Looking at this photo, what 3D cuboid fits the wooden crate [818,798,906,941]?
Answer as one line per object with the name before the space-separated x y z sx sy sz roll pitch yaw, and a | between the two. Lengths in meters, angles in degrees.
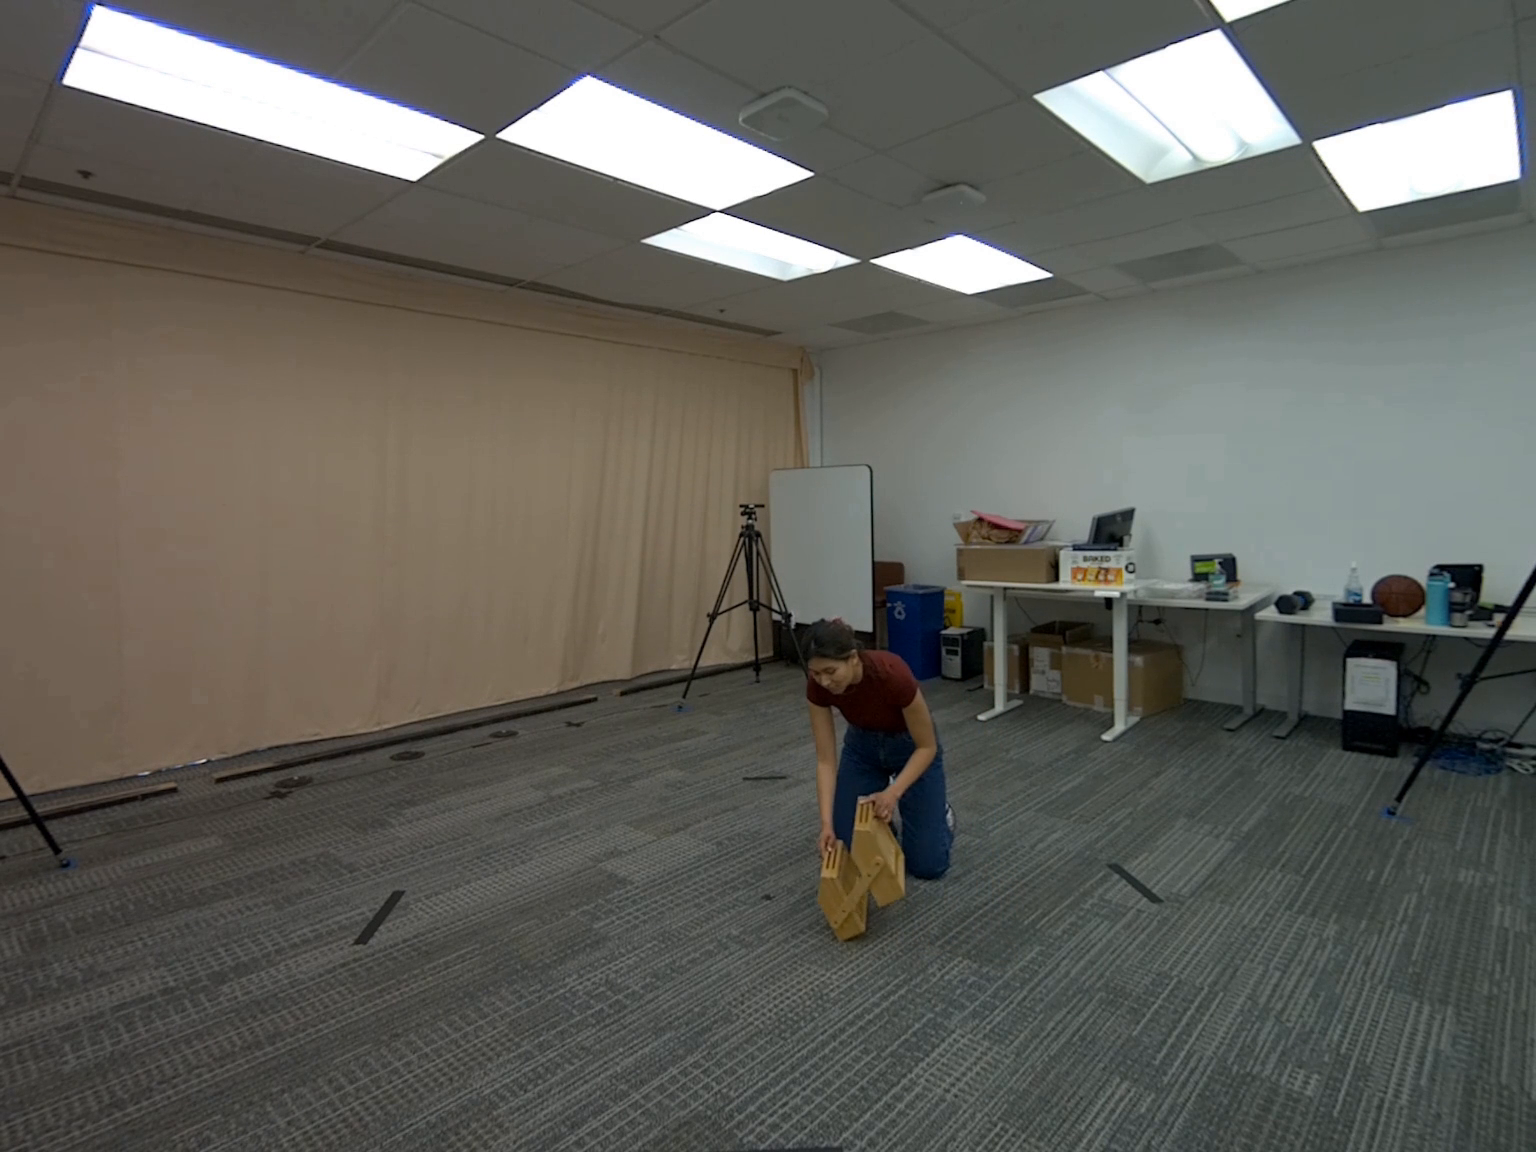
wooden crate | 0.288 0.962 2.799 0.275 0.302 0.322 -27 0 10
